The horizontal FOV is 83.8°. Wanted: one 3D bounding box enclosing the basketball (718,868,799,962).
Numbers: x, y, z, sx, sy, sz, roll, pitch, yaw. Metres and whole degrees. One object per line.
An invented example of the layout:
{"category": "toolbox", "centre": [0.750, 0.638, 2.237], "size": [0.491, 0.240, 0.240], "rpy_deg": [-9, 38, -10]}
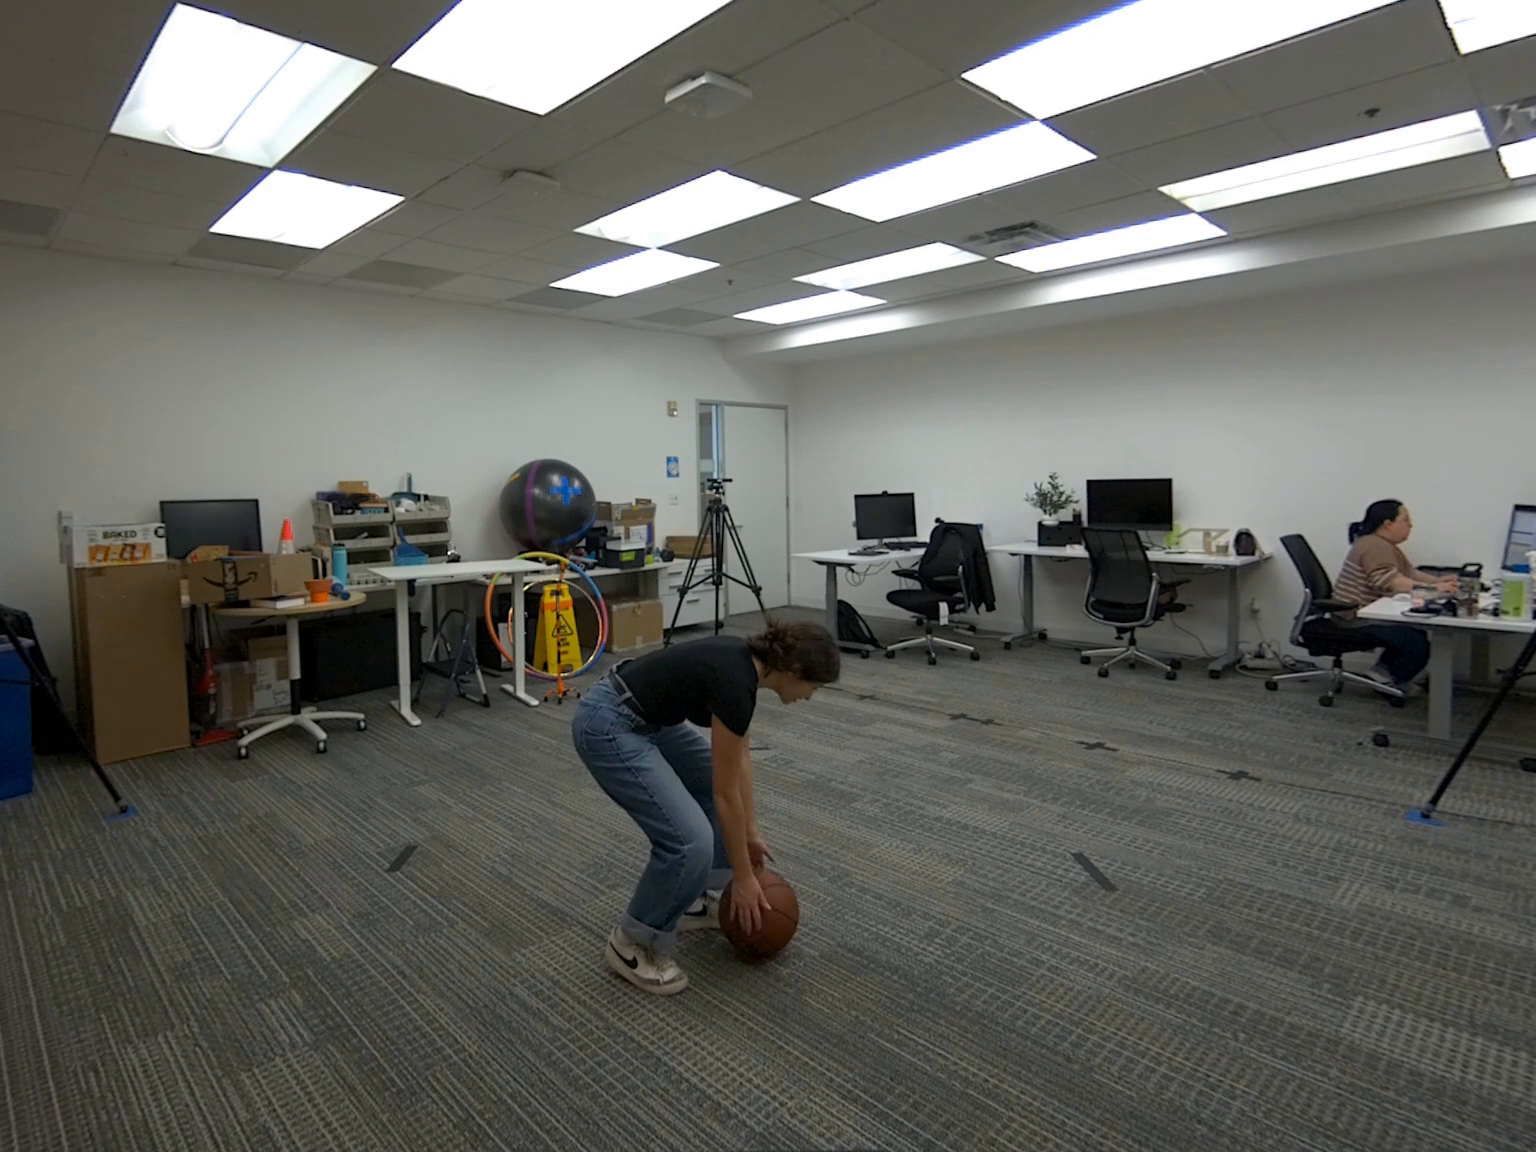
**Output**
{"category": "basketball", "centre": [-0.019, 0.990, 2.526], "size": [0.236, 0.235, 0.237], "rpy_deg": [-1, 5, -2]}
